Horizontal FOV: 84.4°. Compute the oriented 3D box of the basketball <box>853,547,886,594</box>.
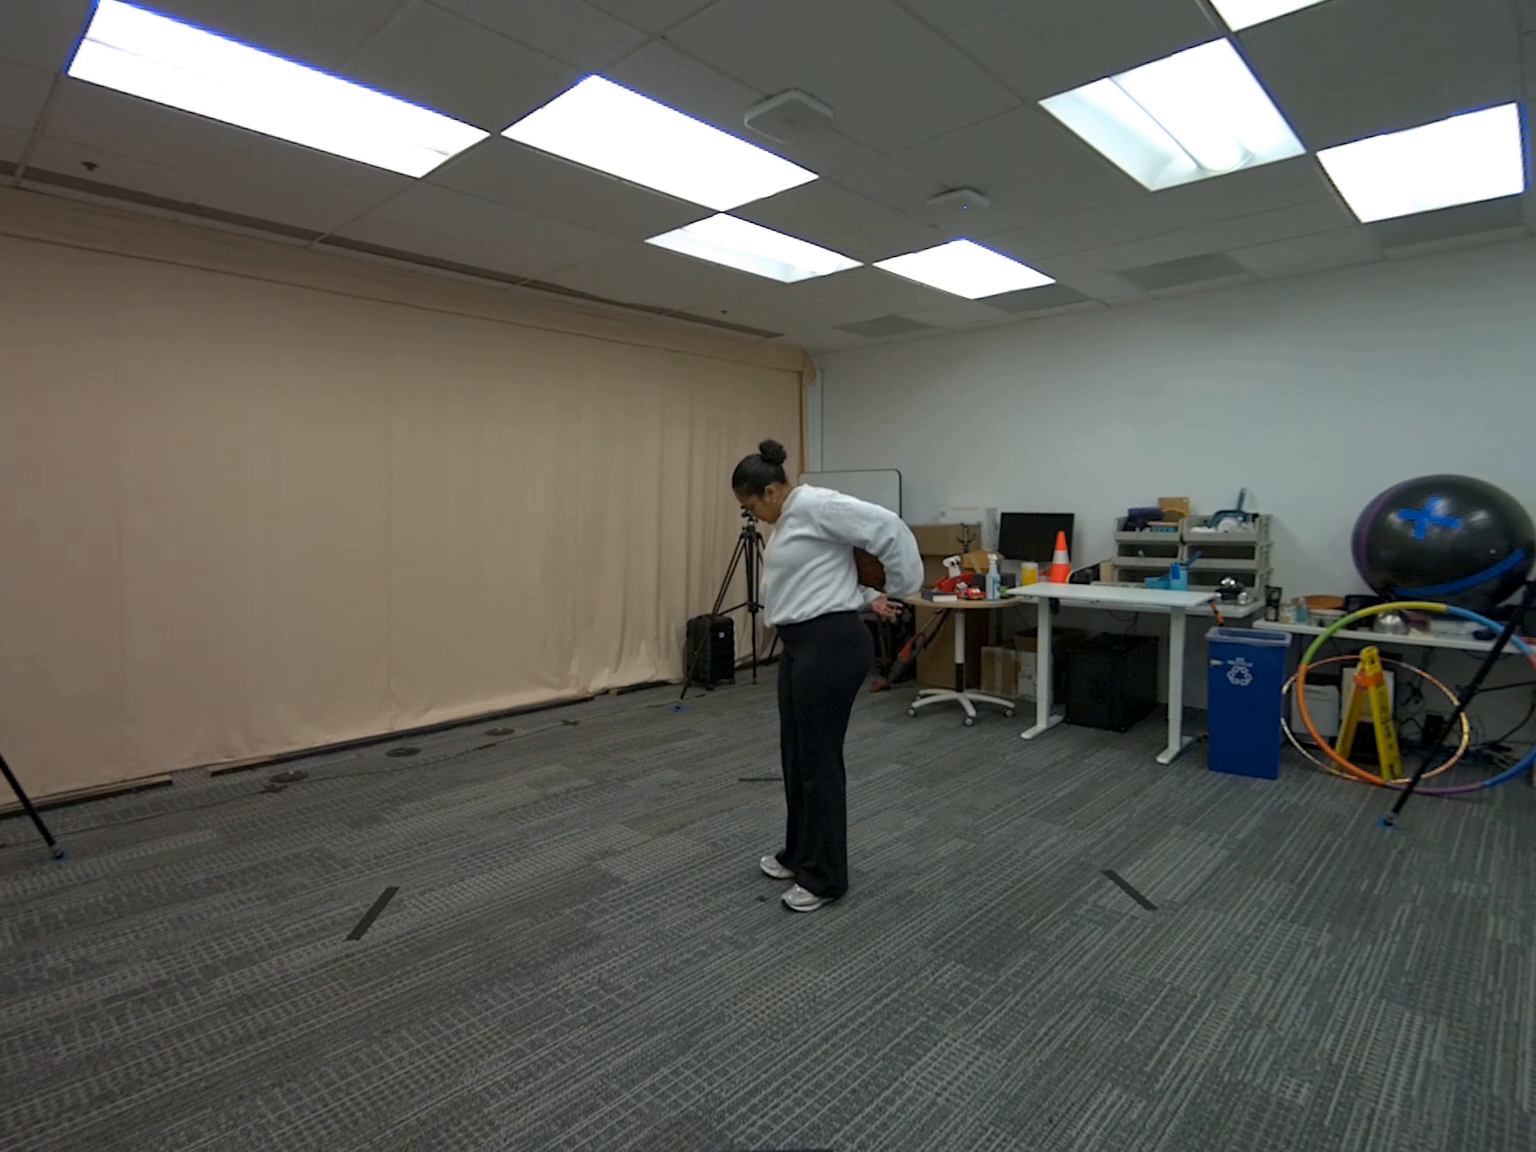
[{"bbox_3d":[0.398,-0.077,2.967,0.236,0.235,0.237,0,4,-2],"label":"basketball"}]
